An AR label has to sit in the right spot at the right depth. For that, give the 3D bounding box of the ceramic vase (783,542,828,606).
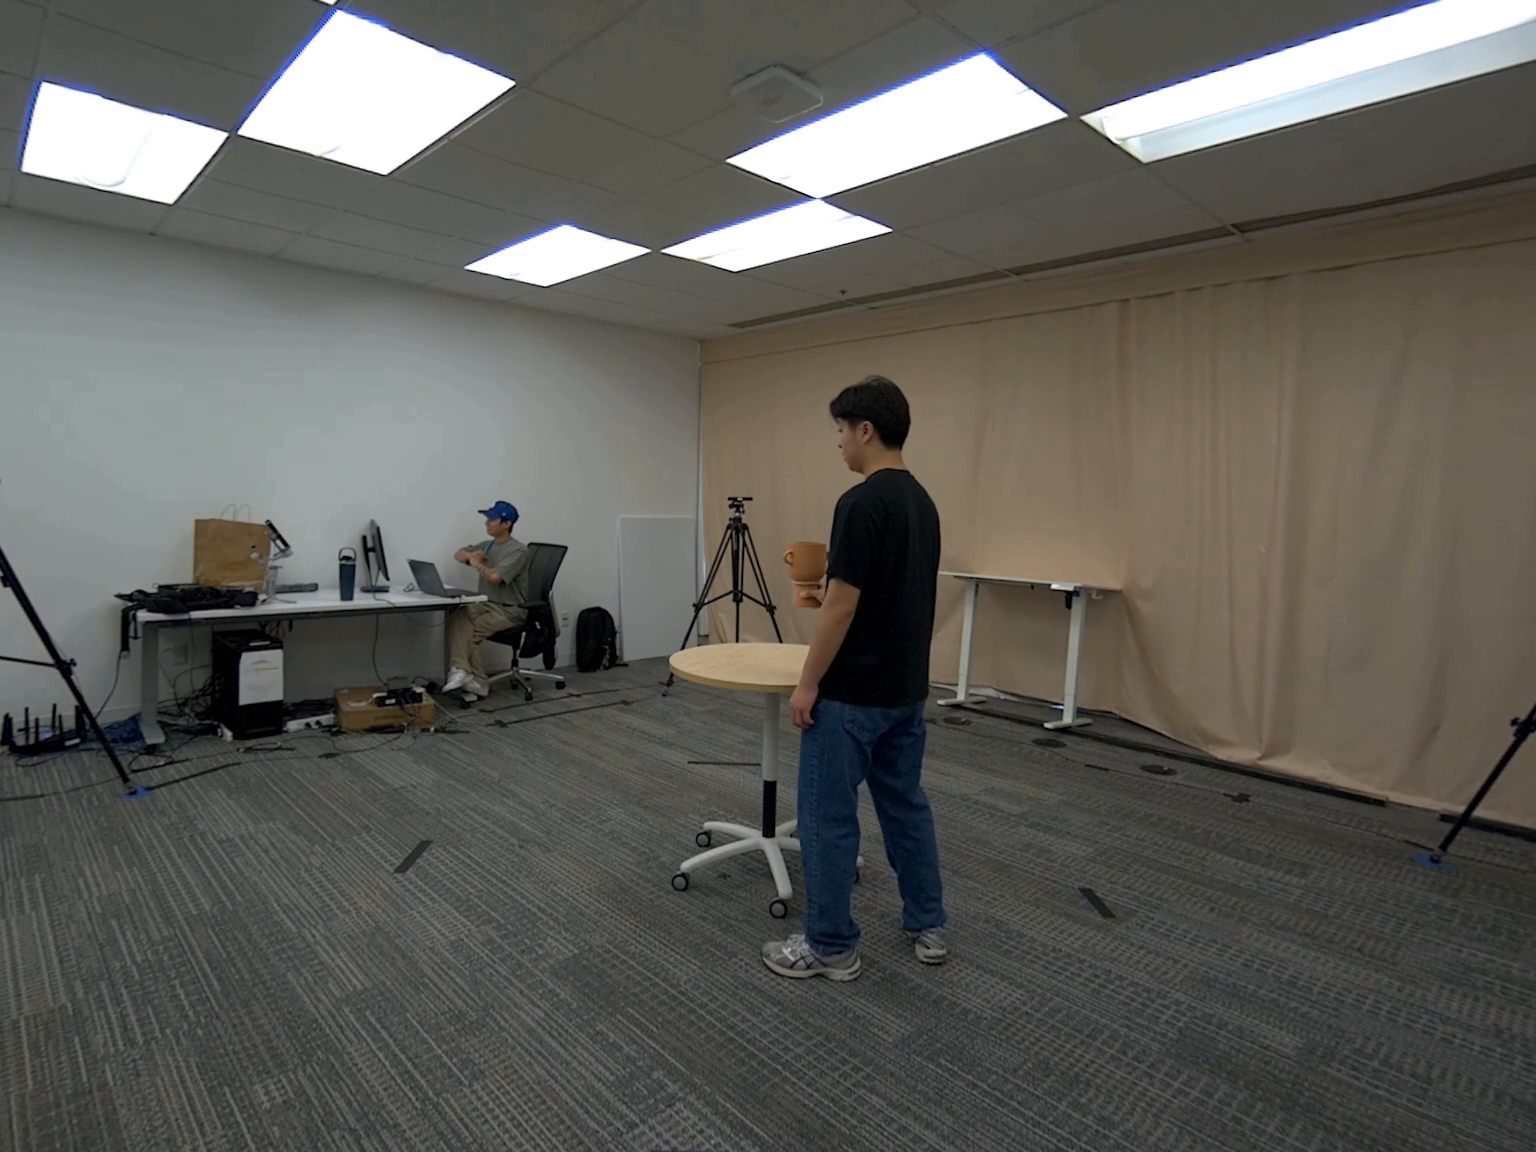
[{"bbox_3d":[0.130,-0.005,2.910,0.160,0.219,0.134,1,4,6],"label":"ceramic vase"}]
